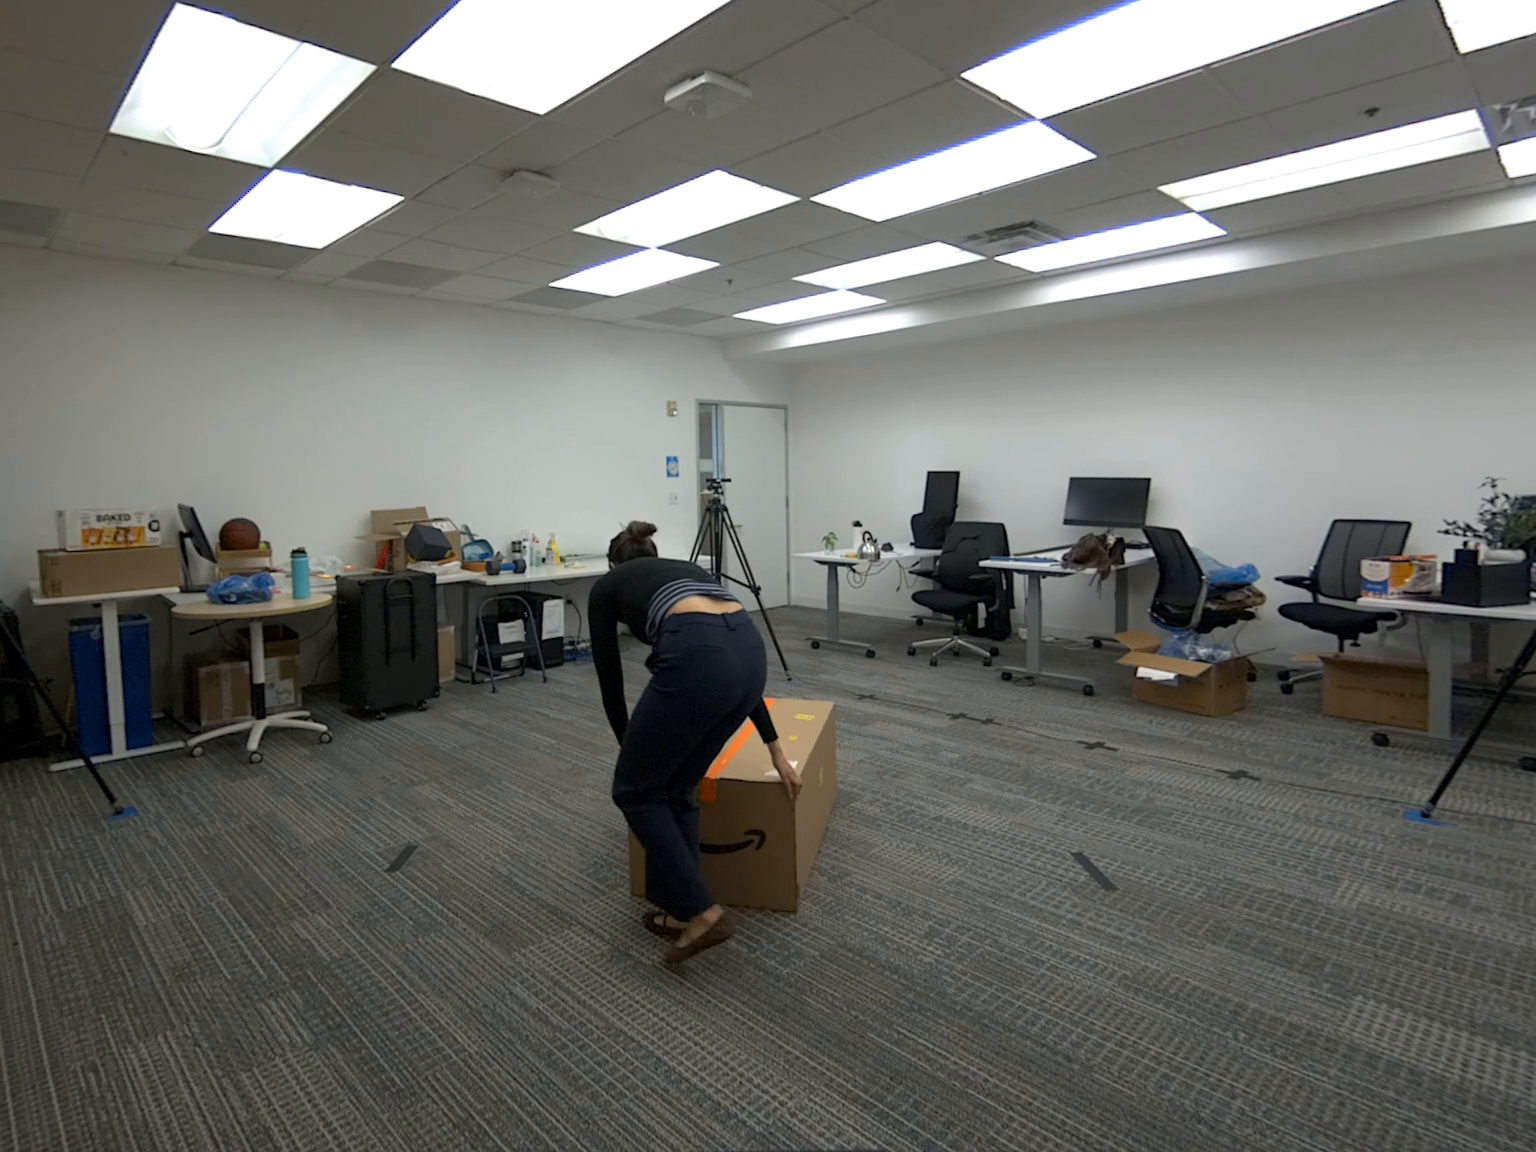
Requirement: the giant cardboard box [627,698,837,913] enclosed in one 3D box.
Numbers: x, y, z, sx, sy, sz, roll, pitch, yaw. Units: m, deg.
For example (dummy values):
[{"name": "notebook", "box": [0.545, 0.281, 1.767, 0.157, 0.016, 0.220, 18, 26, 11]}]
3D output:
[{"name": "giant cardboard box", "box": [-0.086, 0.808, 3.292, 0.585, 0.424, 1.017, 0, 6, 13]}]
